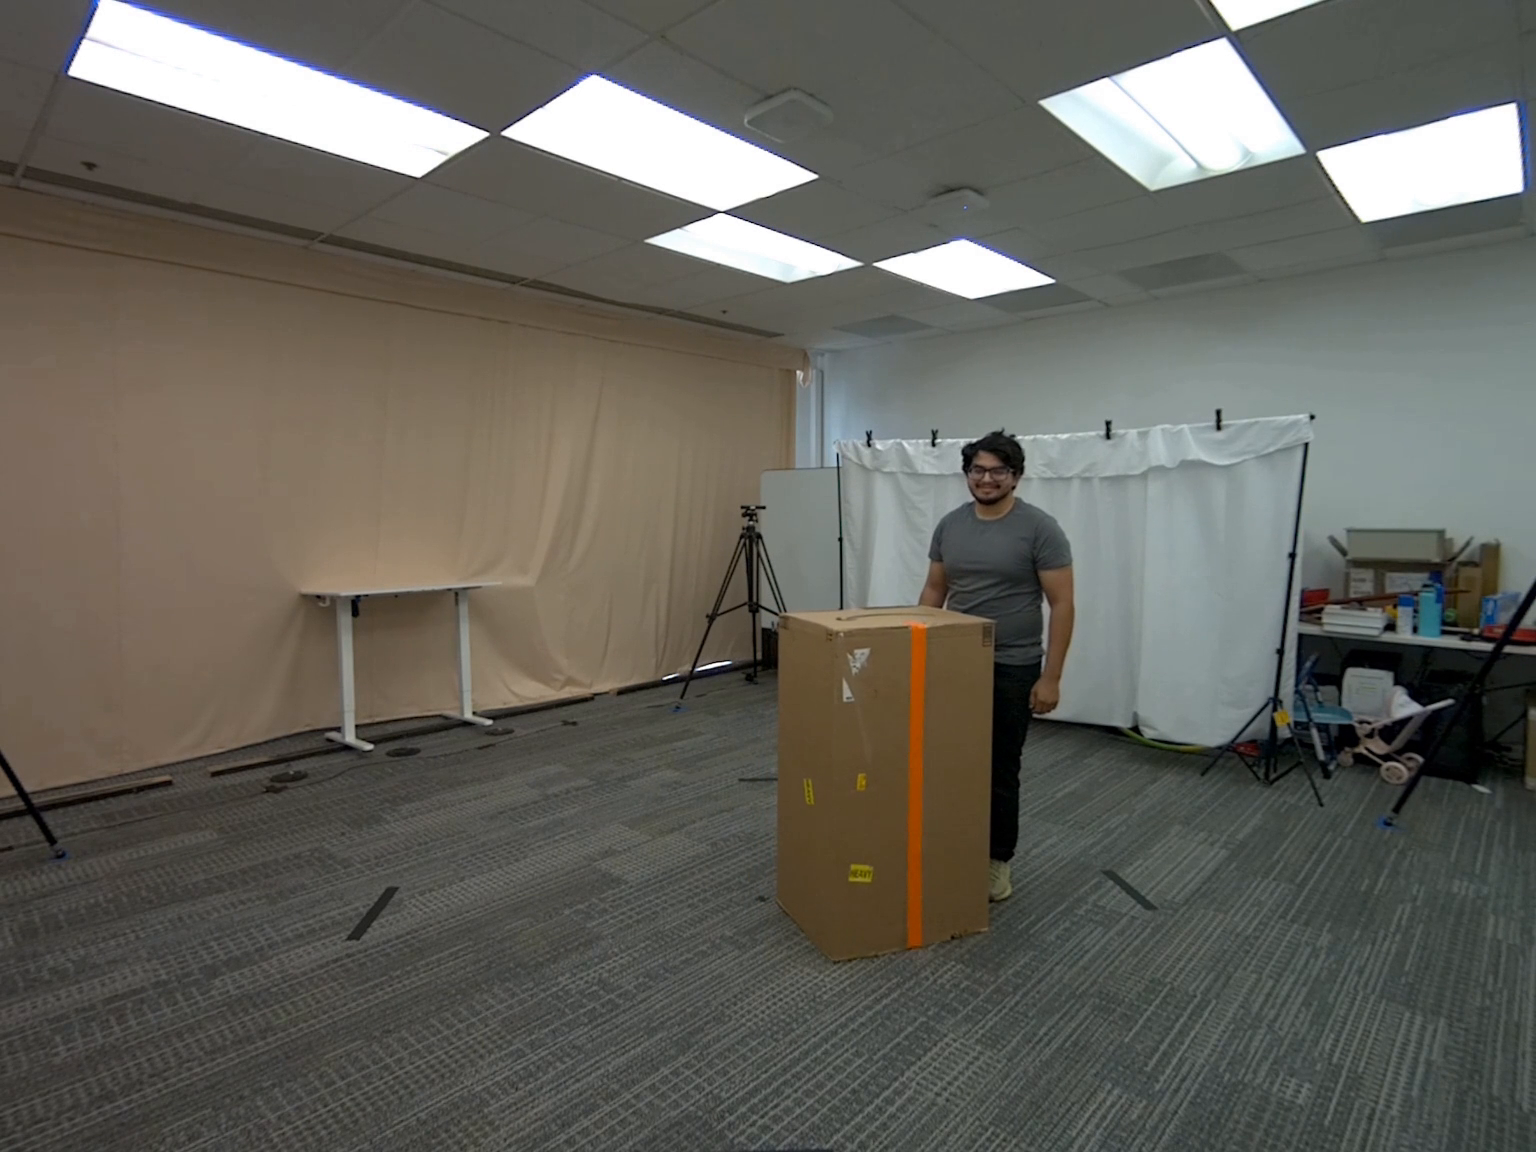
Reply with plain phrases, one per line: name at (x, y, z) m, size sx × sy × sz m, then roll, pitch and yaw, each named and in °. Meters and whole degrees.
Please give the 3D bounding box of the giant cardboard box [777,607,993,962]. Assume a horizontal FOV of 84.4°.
giant cardboard box at (0.381, 0.648, 2.821) m, size 0.571 × 1.025 × 0.457 m, roll -1°, pitch 3°, yaw -22°
